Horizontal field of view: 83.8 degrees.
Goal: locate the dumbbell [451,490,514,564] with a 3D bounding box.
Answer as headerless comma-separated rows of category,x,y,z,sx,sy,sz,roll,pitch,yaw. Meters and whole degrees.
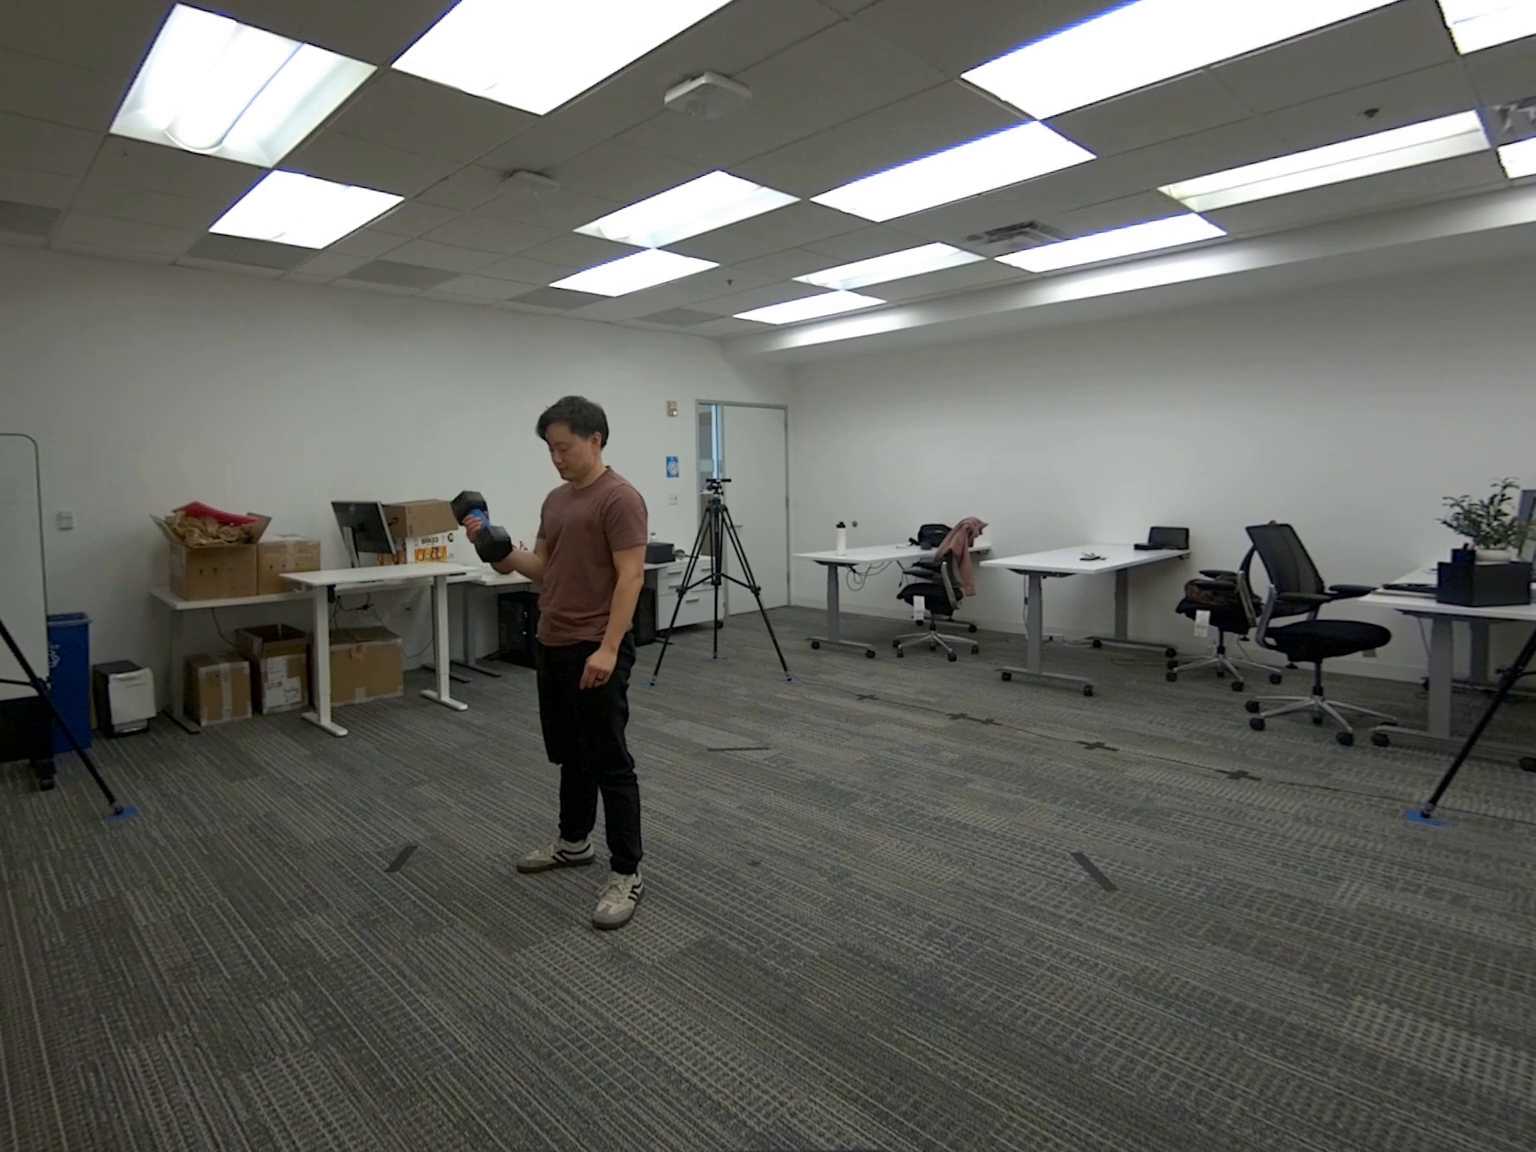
dumbbell,-0.955,-0.164,2.860,0.305,0.123,0.104,47,-2,37
